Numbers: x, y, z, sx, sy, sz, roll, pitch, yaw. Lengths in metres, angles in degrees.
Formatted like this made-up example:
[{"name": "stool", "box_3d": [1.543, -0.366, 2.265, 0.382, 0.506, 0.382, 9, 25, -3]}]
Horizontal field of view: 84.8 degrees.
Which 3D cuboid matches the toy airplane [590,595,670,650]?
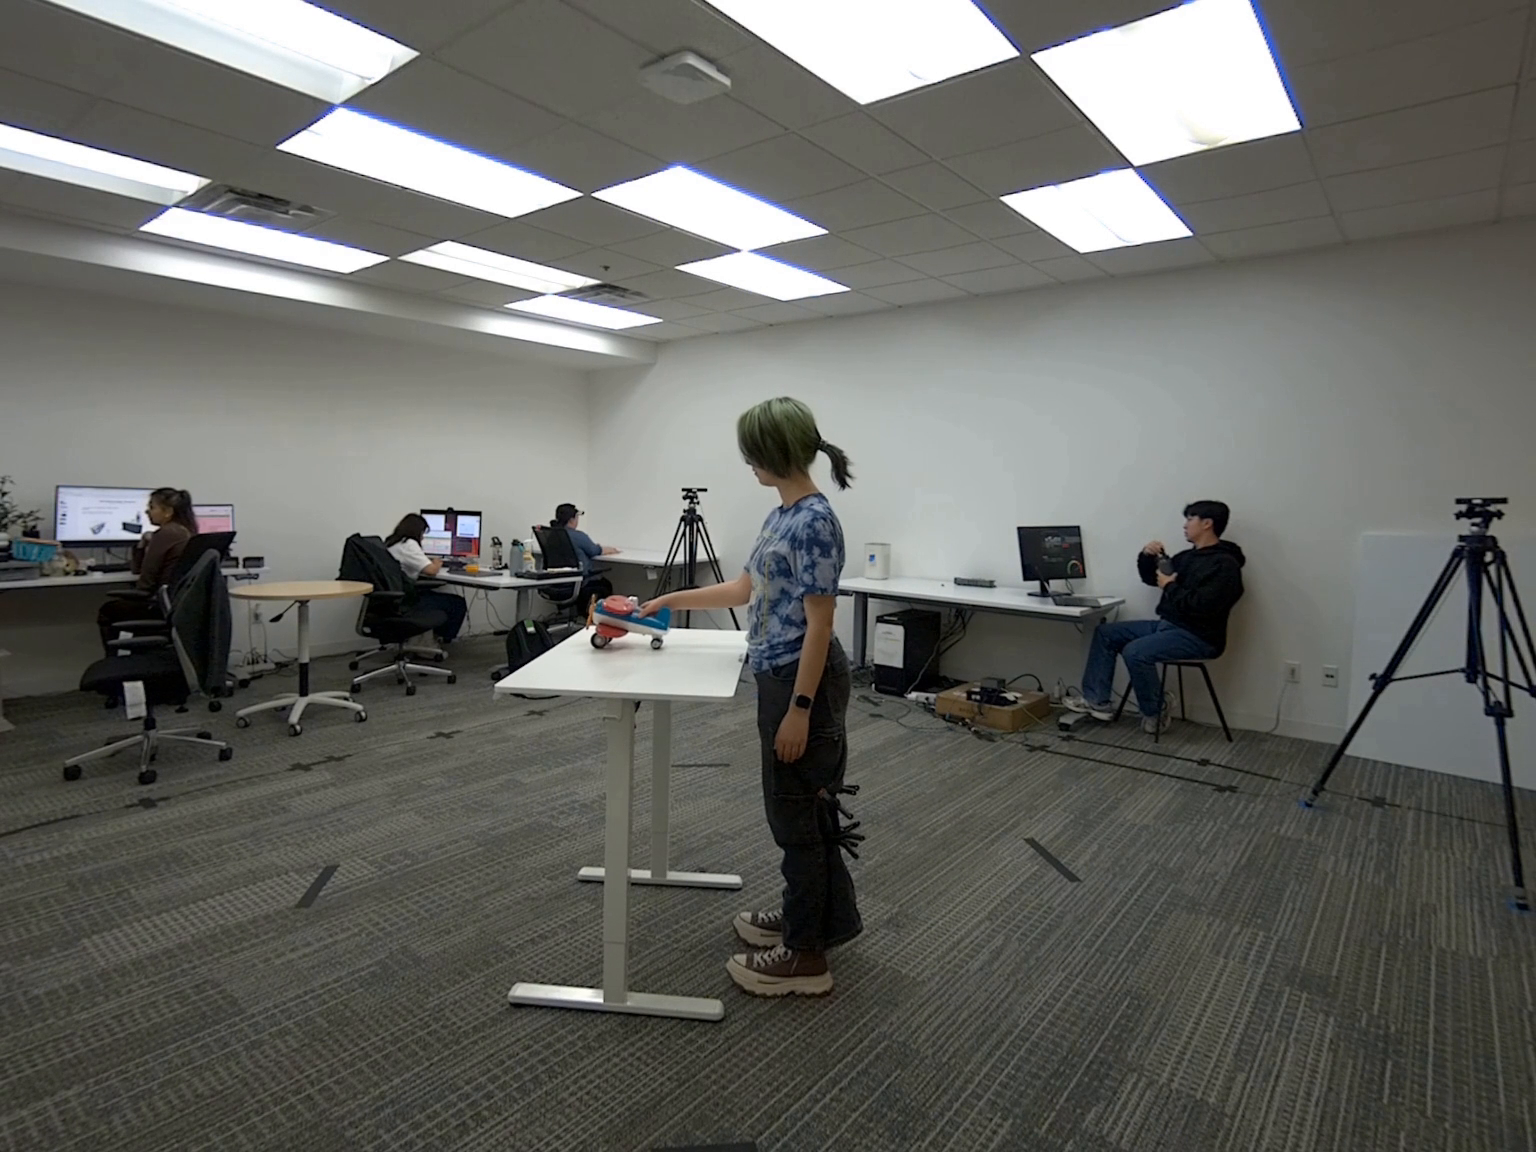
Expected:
[{"name": "toy airplane", "box_3d": [-0.451, 0.144, 2.712, 0.253, 0.156, 0.258, -3, 6, -26]}]
